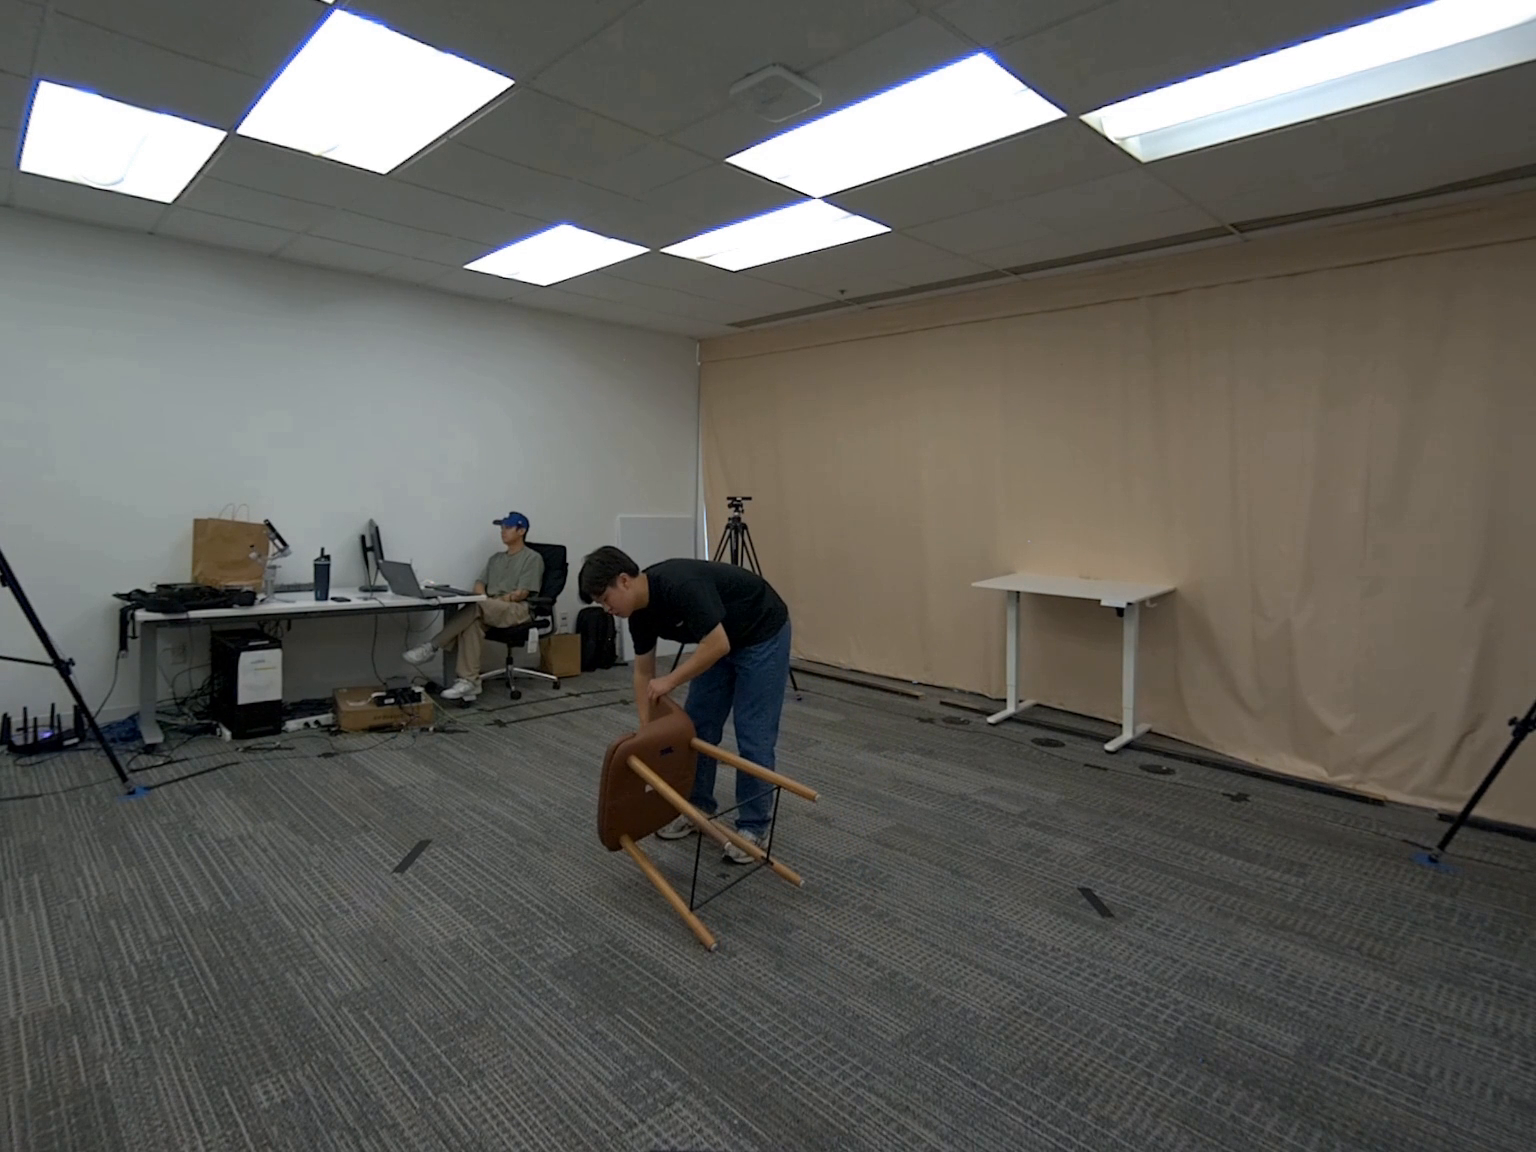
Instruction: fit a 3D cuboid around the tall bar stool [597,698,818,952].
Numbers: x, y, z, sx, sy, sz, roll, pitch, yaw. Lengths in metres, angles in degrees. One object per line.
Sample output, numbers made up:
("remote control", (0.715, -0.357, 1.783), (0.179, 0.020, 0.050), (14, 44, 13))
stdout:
("tall bar stool", (-0.314, 0.787, 2.945), (0.917, 0.451, 0.459), (26, 27, 39))
